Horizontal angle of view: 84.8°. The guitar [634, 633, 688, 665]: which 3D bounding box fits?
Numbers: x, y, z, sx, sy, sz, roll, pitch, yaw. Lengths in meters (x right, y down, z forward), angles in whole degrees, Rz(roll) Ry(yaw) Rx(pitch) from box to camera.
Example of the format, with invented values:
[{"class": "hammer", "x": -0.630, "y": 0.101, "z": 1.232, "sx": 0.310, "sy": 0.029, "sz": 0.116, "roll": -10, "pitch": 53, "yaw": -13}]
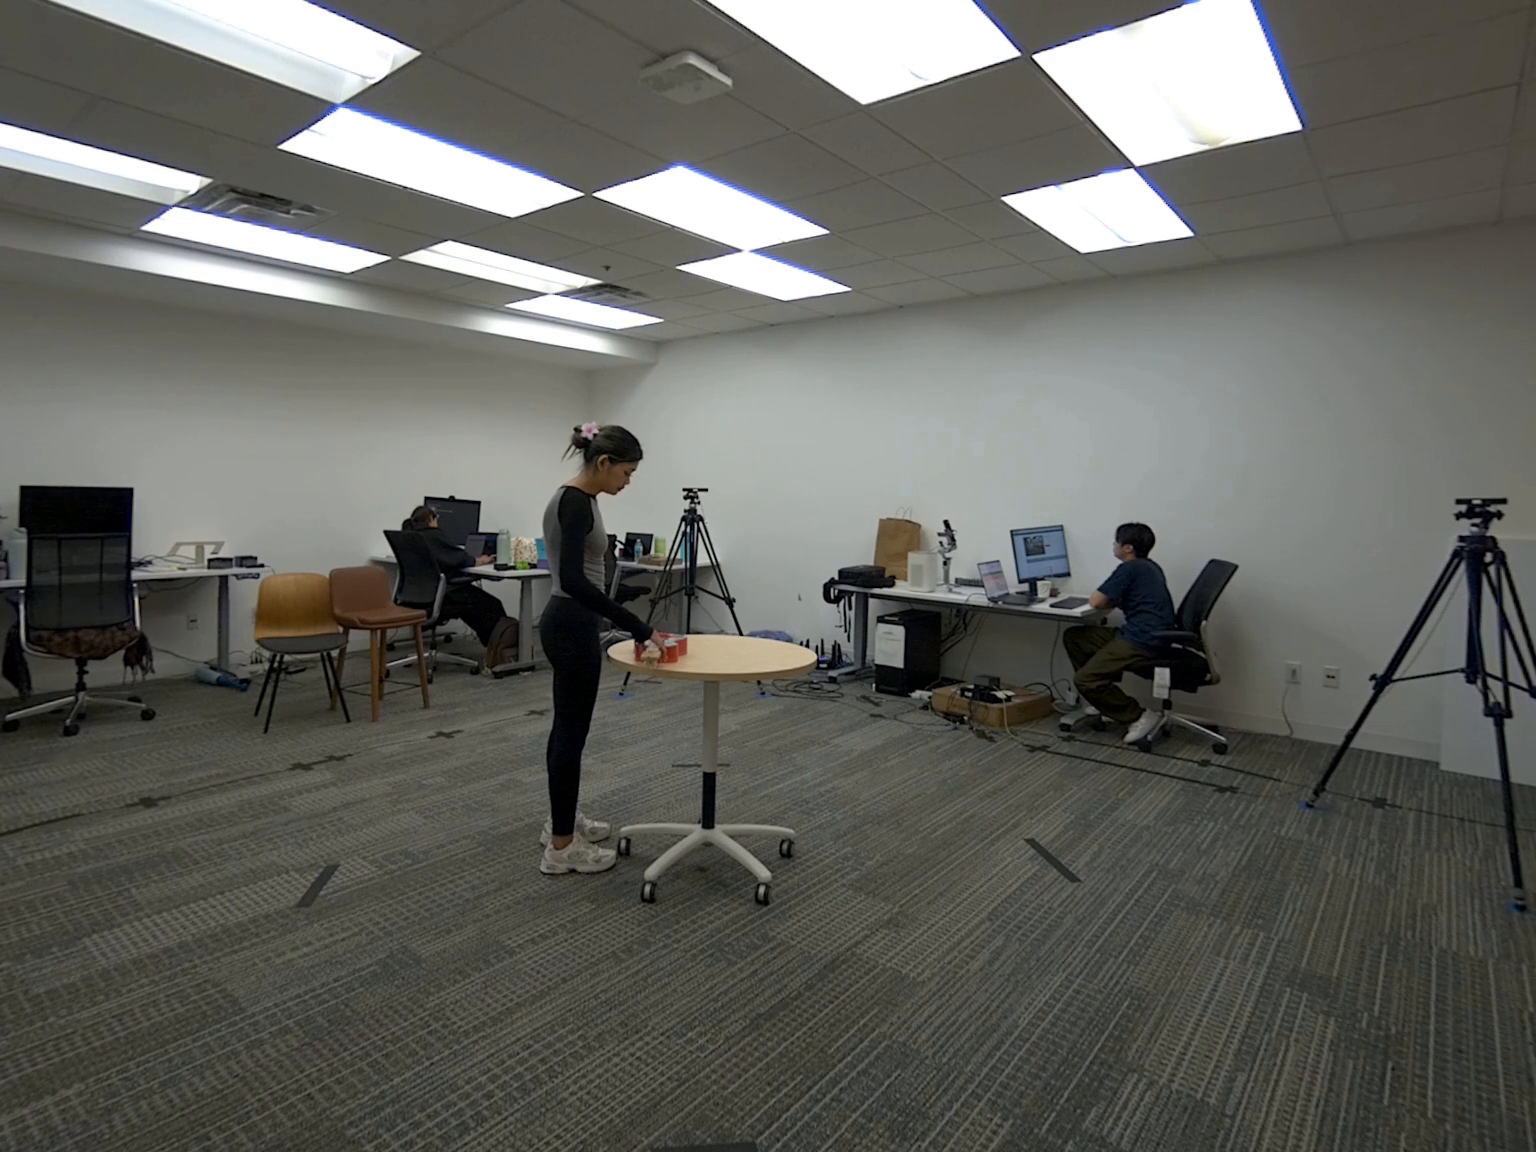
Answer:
[{"class": "guitar", "x": -0.415, "y": 0.258, "z": 2.888, "sx": 0.194, "sy": 0.070, "sz": 0.495, "roll": 1, "pitch": 4, "yaw": 5}]
